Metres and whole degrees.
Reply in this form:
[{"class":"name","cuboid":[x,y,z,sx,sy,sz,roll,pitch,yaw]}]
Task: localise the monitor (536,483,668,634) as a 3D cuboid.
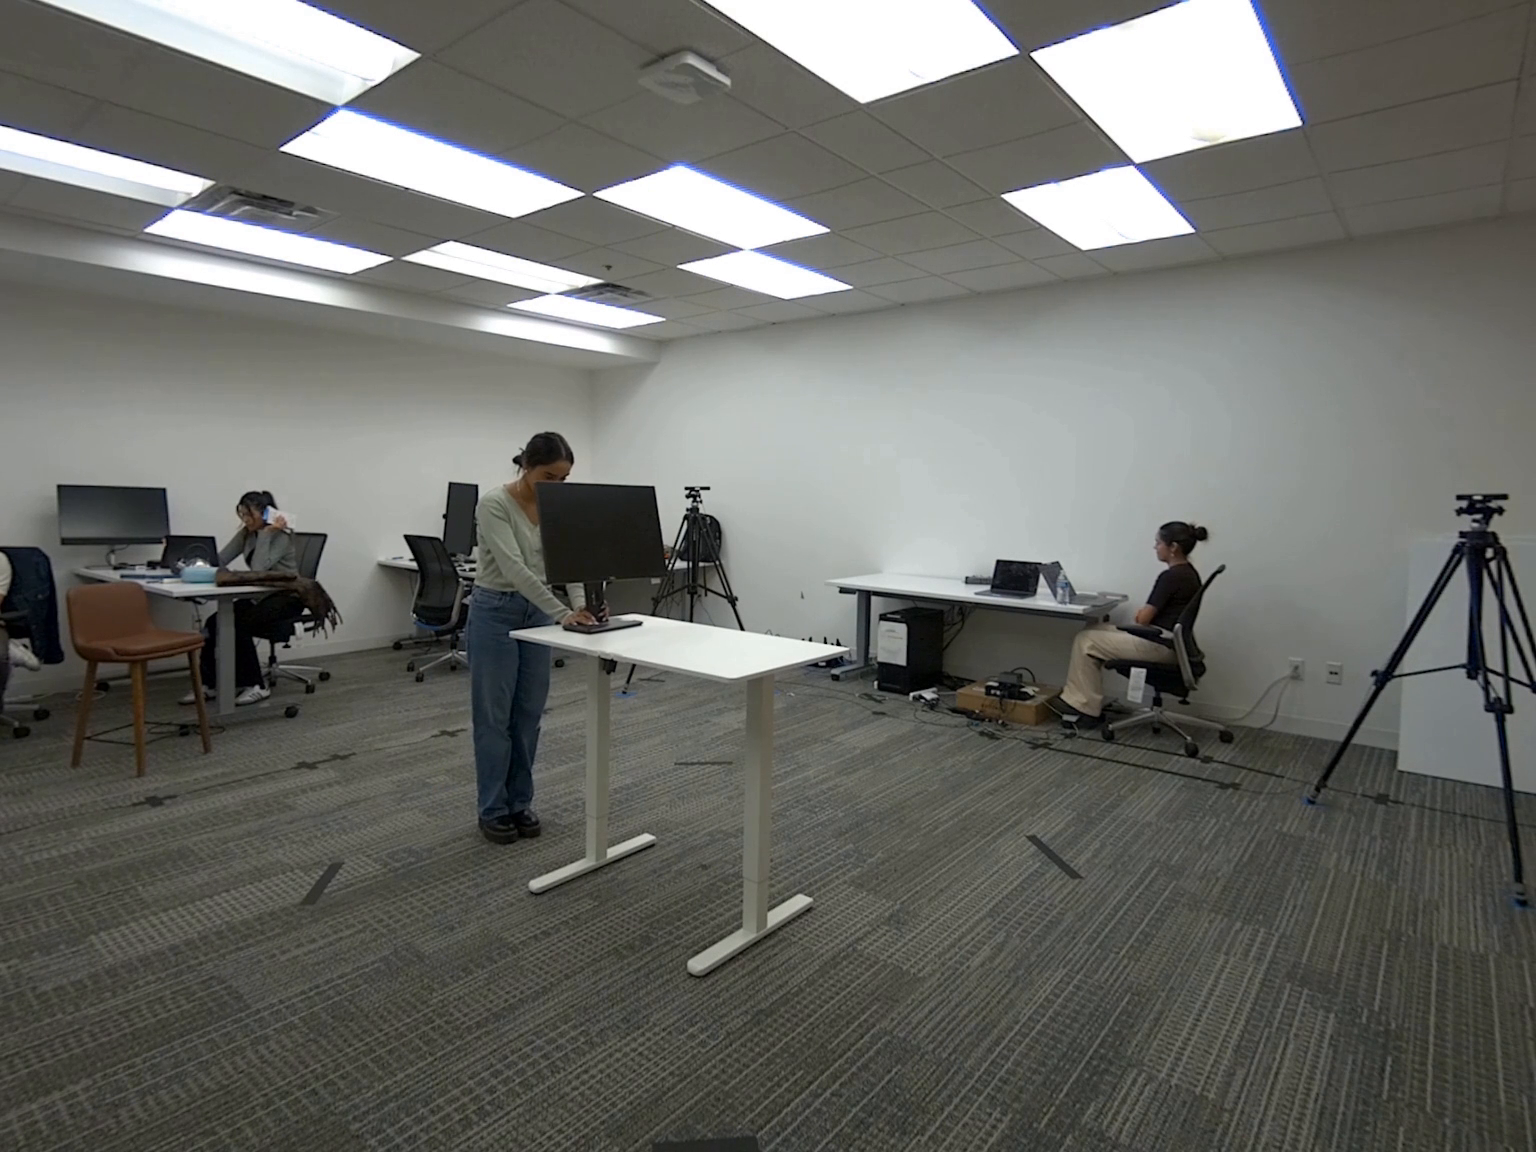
[{"class":"monitor","cuboid":[-0.619,-0.070,3.039,0.193,0.522,0.523,2,2,40]}]
